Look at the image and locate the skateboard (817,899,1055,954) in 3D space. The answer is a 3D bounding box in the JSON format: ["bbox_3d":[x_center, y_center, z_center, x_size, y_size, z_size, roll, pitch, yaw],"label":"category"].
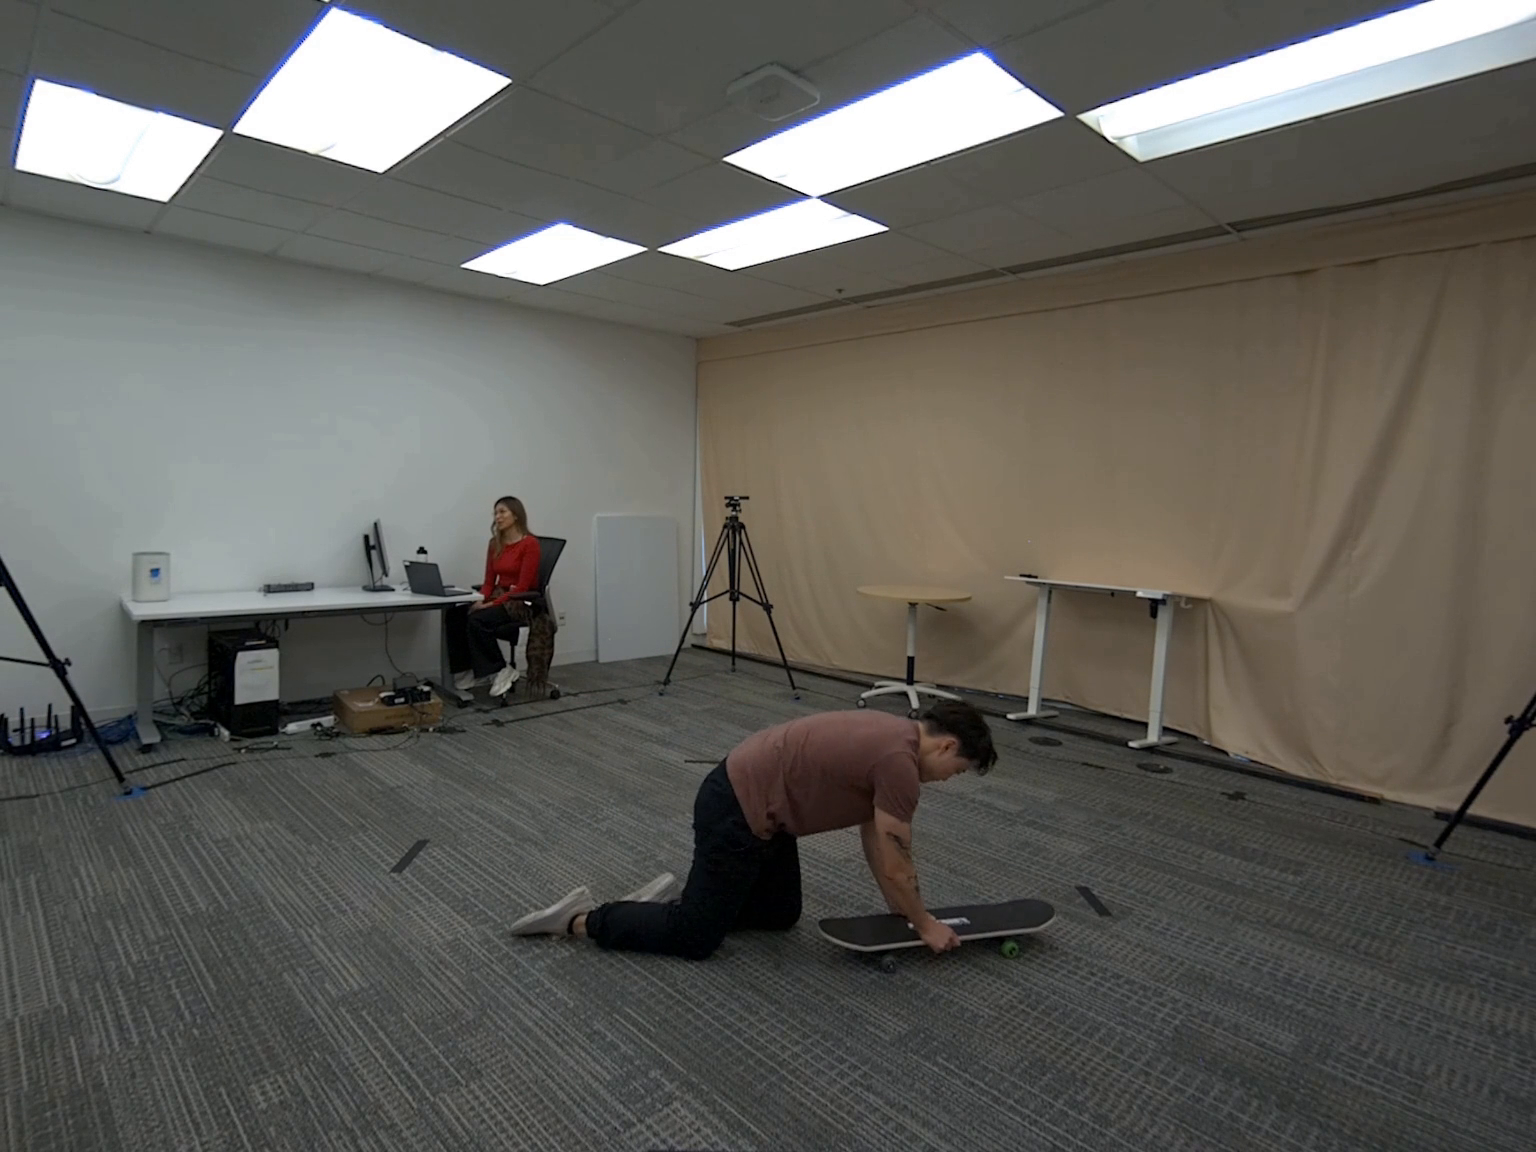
[{"bbox_3d":[0.521,1.111,2.616,0.777,0.110,0.195,0,2,-13],"label":"skateboard"}]
